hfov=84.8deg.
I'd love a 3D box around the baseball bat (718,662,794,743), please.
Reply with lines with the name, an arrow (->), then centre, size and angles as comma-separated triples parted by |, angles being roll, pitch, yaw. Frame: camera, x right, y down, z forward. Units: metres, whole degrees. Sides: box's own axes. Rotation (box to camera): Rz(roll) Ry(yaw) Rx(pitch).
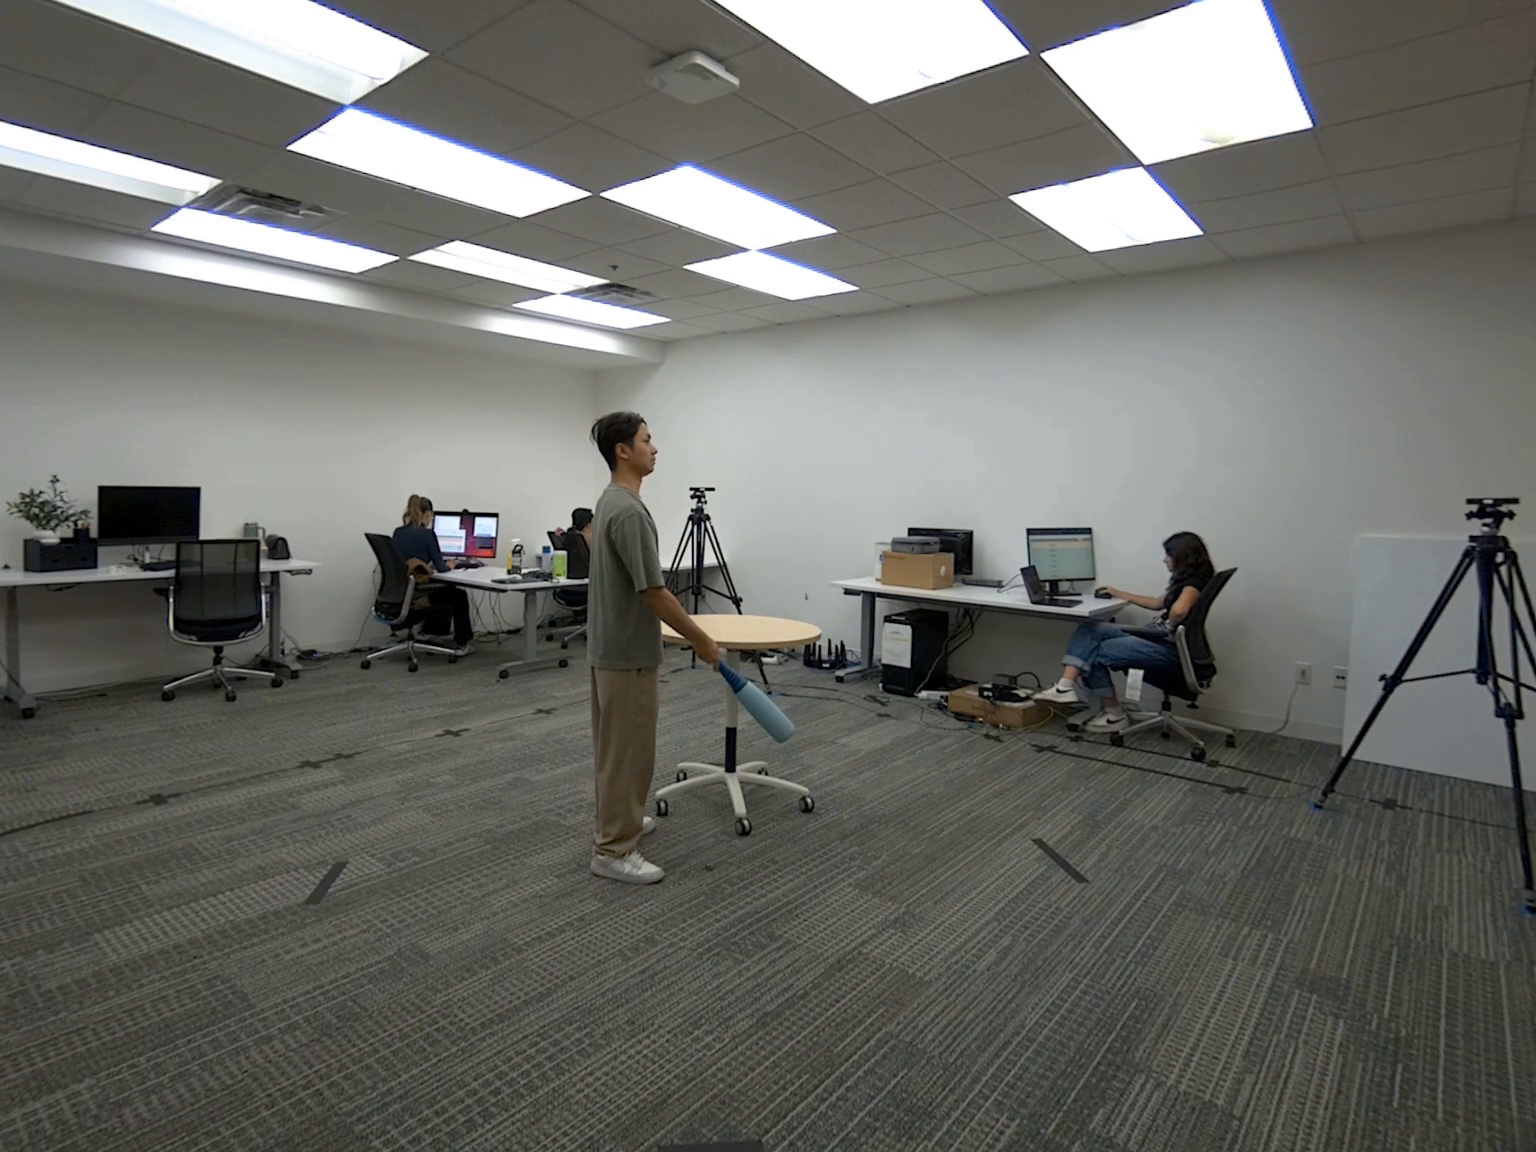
baseball bat -> -0.118, 0.381, 3.061 | 0.089, 0.542, 0.089 | -44, 1, 1
